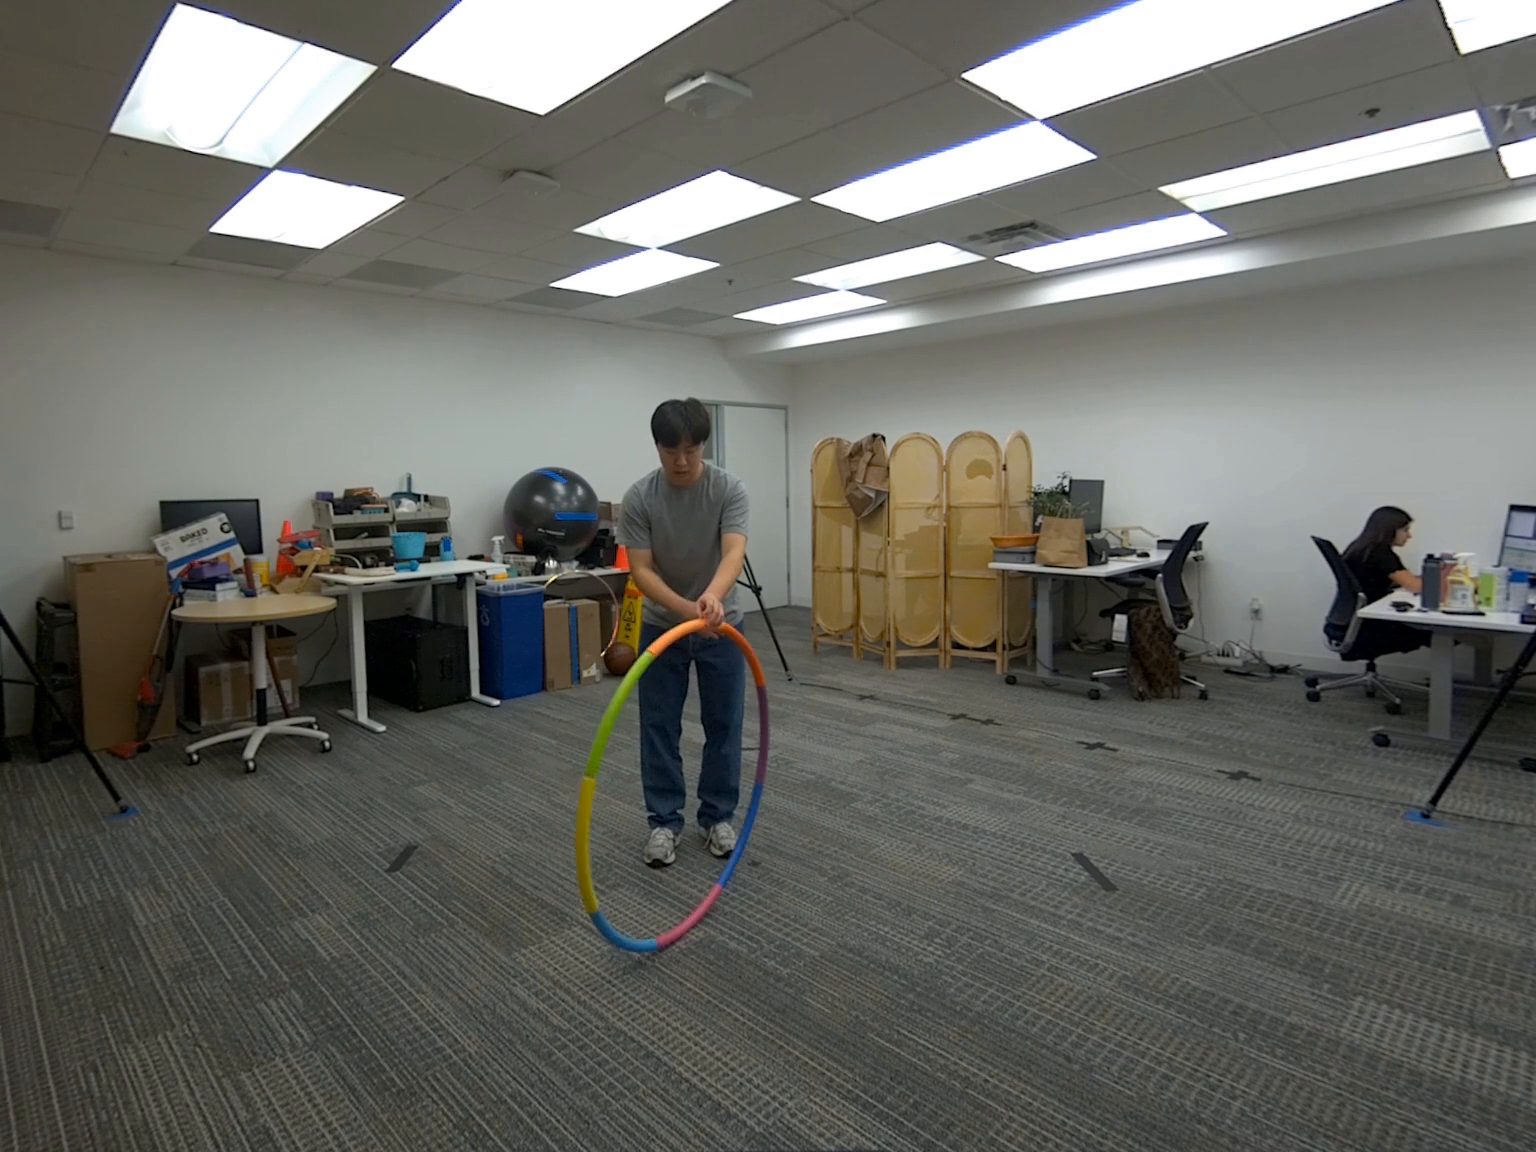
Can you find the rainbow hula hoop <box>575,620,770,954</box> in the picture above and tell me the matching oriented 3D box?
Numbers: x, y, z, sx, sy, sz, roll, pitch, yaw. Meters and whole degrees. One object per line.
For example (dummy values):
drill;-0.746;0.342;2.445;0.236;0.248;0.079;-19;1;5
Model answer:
rainbow hula hoop;-0.243;0.629;2.595;0.036;0.974;0.957;5;7;29
